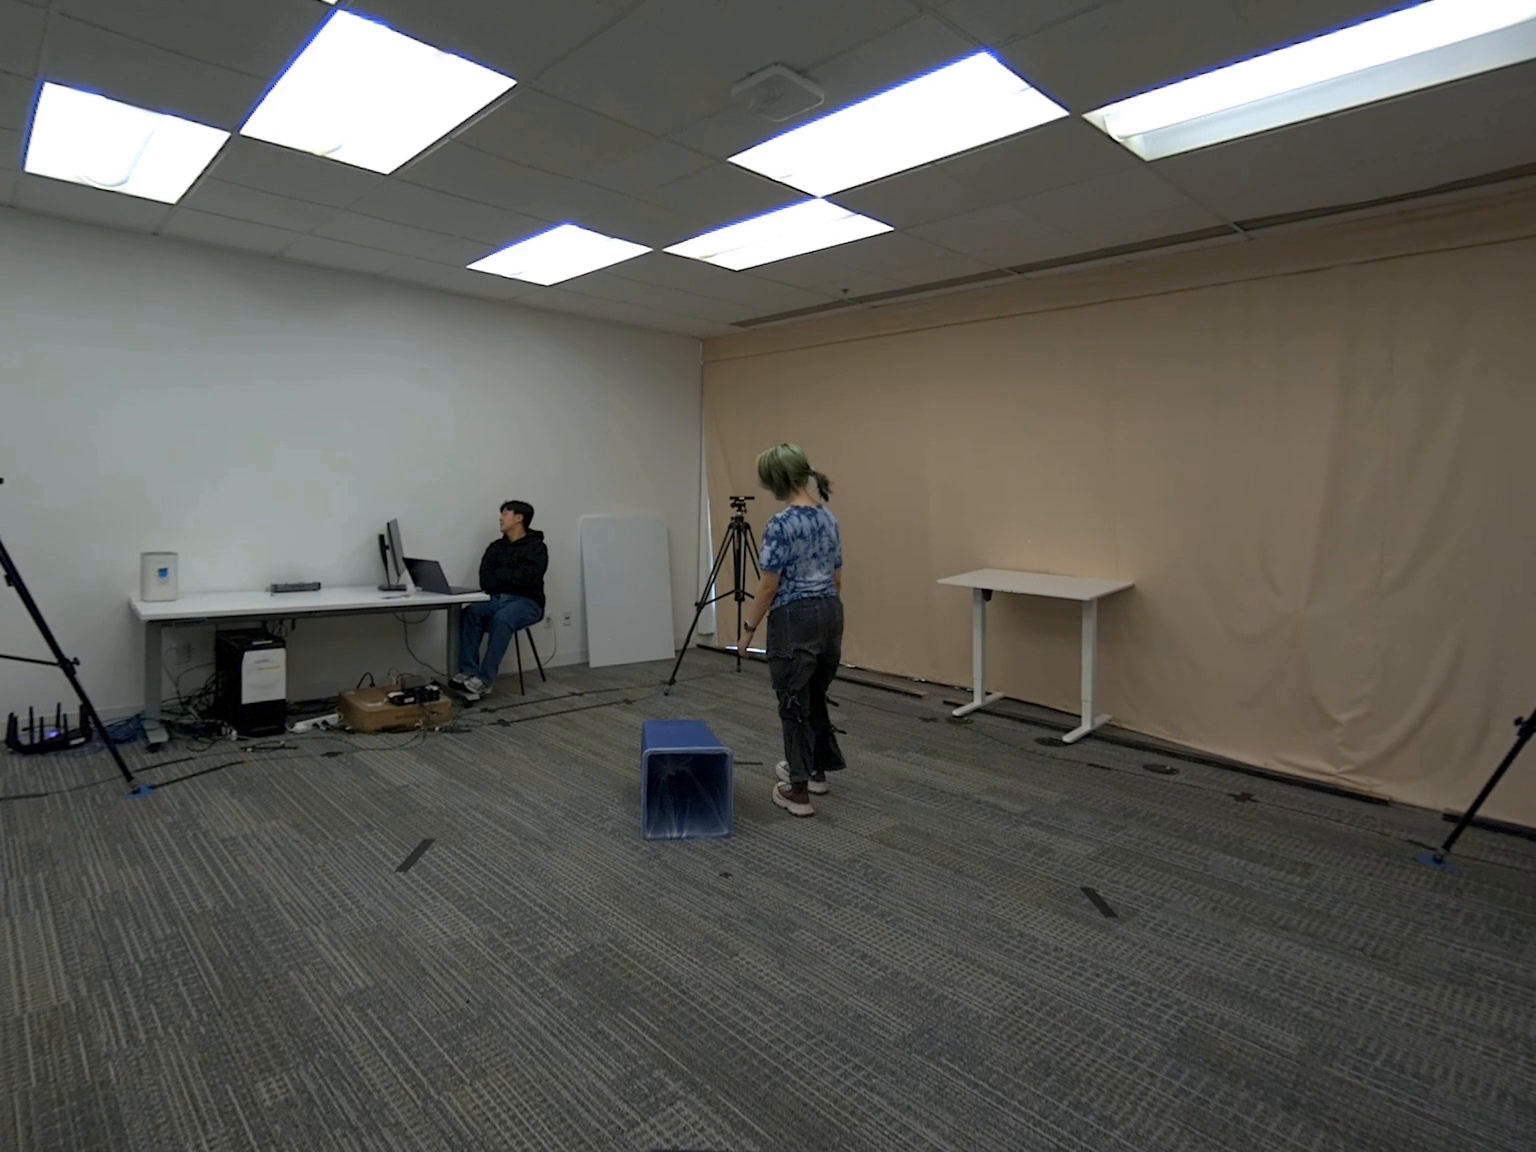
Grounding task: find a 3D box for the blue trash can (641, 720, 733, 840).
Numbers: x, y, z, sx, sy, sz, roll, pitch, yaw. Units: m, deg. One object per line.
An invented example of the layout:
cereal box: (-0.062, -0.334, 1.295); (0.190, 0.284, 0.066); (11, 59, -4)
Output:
blue trash can: (-0.406, 0.865, 3.766); (0.375, 0.373, 0.720); (1, 3, -11)
